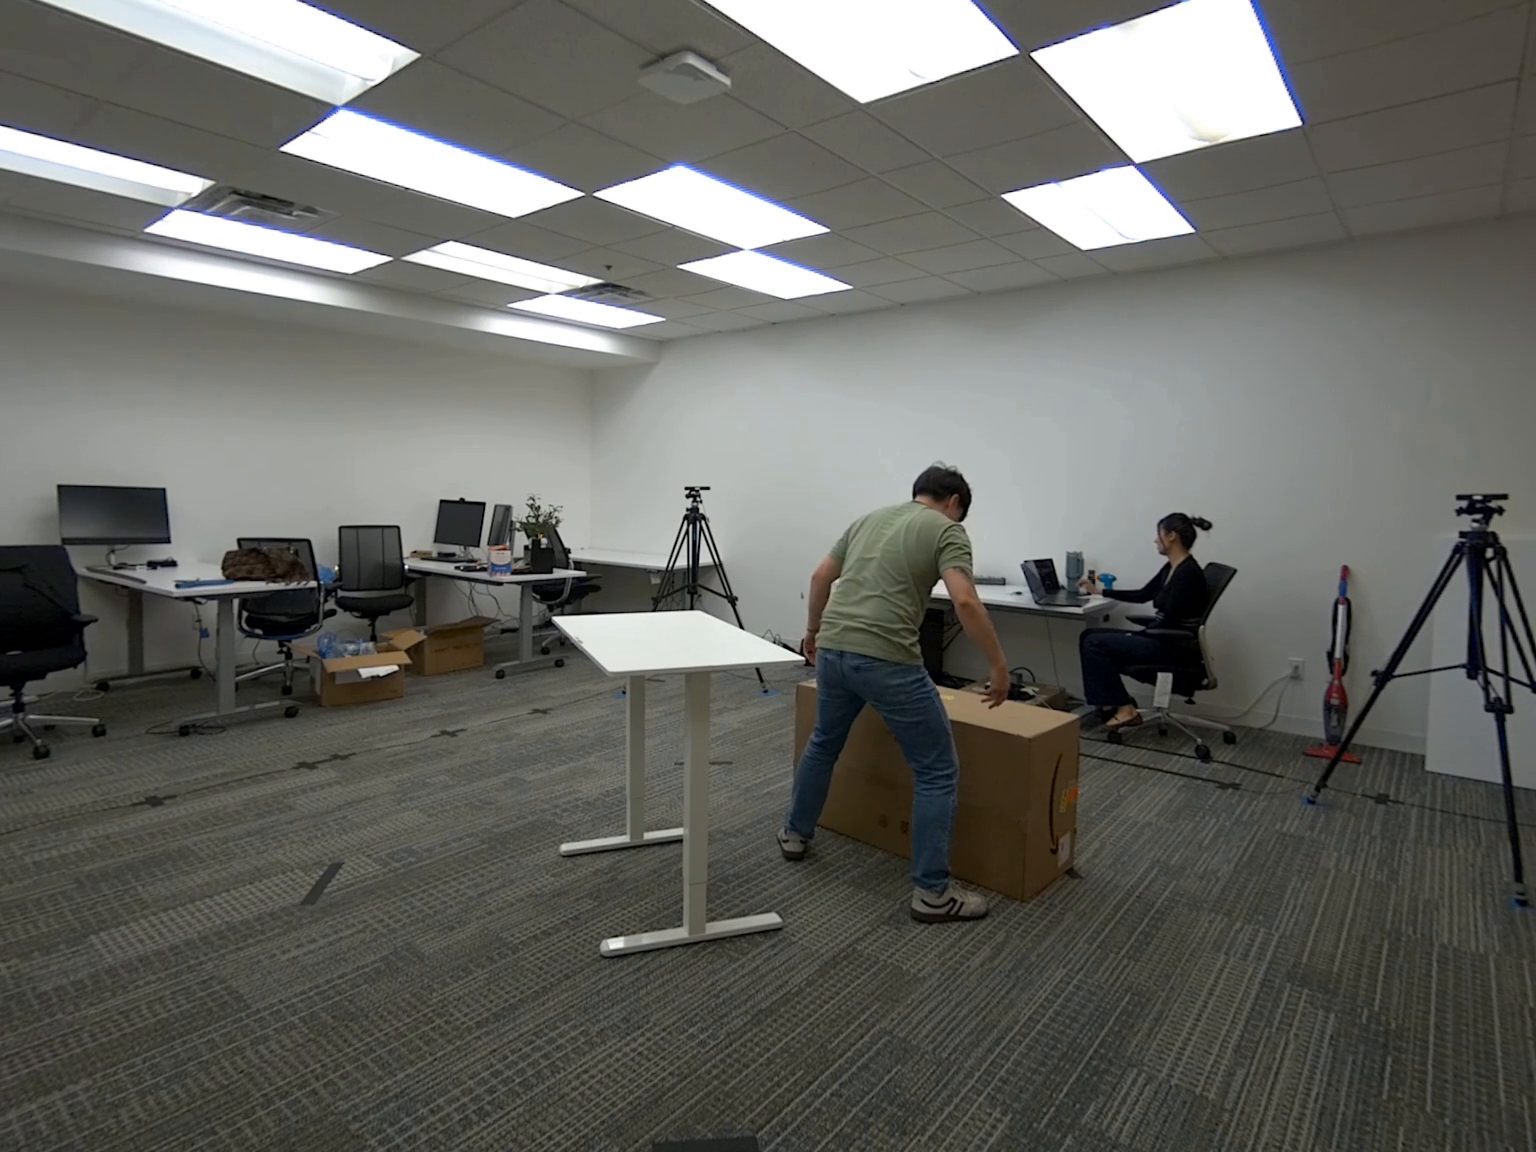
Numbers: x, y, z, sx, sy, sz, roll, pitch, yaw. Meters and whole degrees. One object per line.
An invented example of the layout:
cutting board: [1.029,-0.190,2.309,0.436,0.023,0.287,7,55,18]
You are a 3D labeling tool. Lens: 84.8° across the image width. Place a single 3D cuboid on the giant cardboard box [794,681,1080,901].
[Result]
giant cardboard box: [0.631,0.768,3.385,1.061,0.575,0.413,6,7,43]
